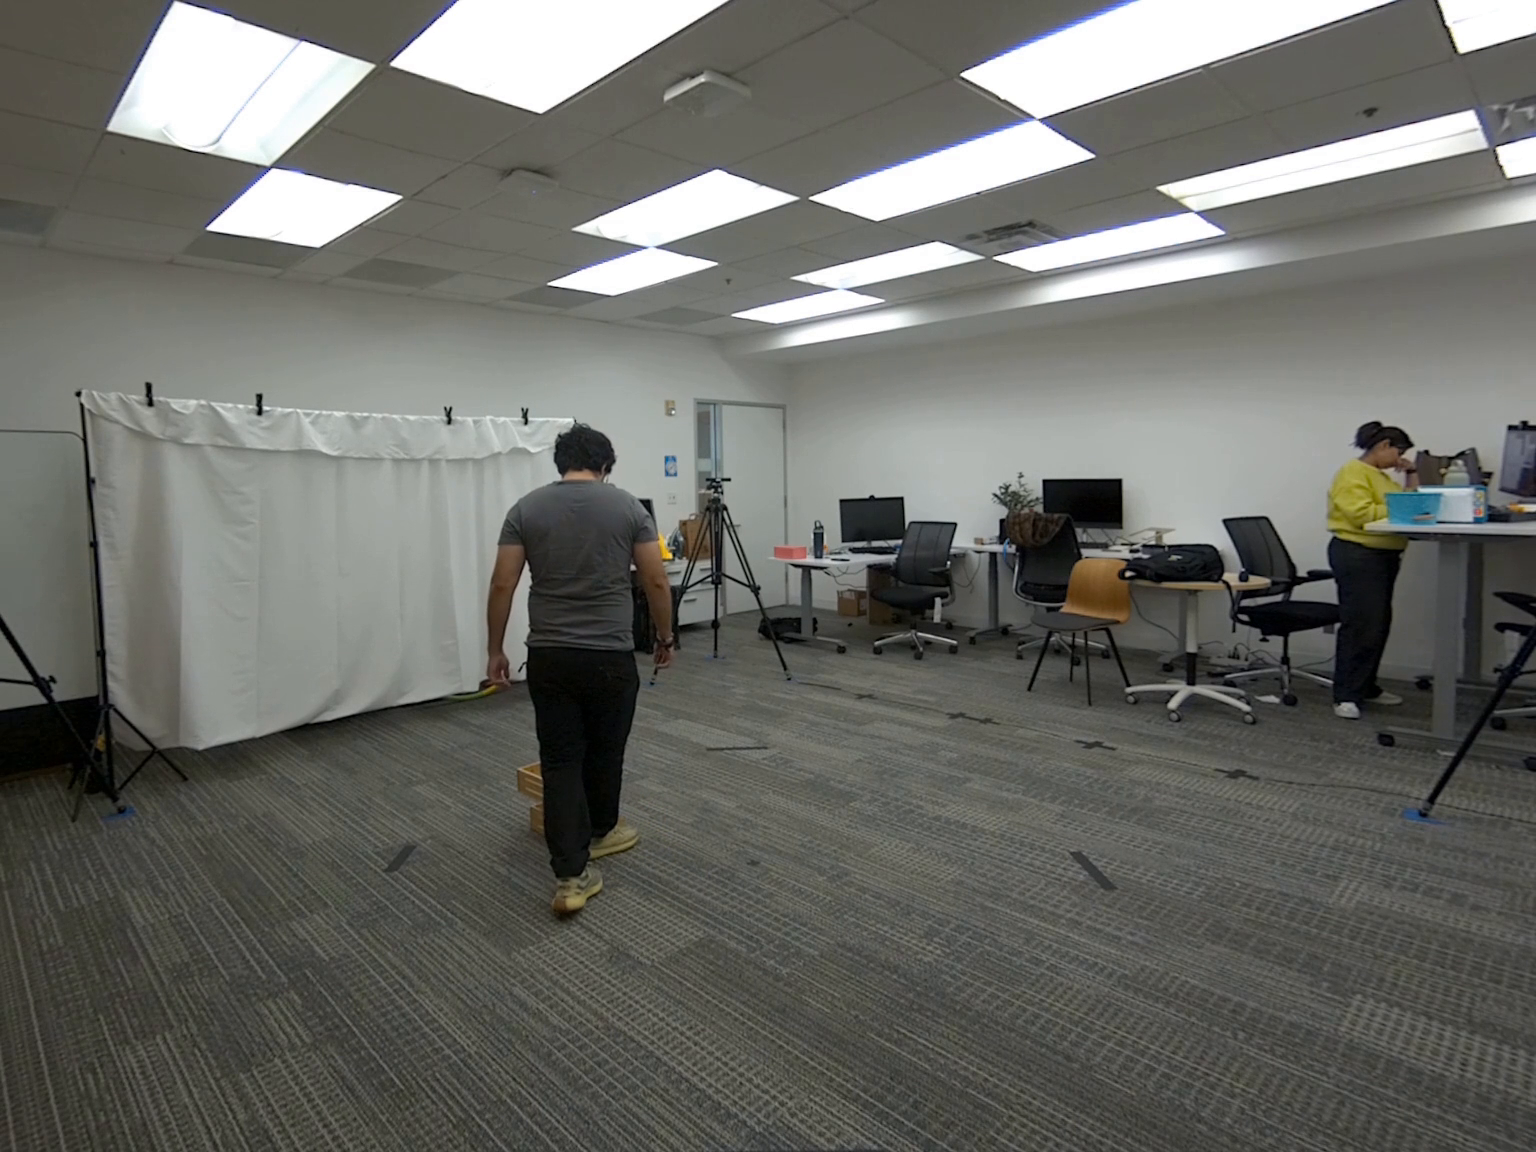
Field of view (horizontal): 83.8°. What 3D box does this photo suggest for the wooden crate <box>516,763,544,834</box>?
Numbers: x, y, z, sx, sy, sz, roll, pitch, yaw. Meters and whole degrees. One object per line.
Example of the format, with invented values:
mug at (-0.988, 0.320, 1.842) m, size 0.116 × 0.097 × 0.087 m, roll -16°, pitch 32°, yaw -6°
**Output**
wooden crate at (-0.783, 0.889, 3.412) m, size 0.334 × 0.272 × 0.294 m, roll 4°, pitch 8°, yaw 44°
